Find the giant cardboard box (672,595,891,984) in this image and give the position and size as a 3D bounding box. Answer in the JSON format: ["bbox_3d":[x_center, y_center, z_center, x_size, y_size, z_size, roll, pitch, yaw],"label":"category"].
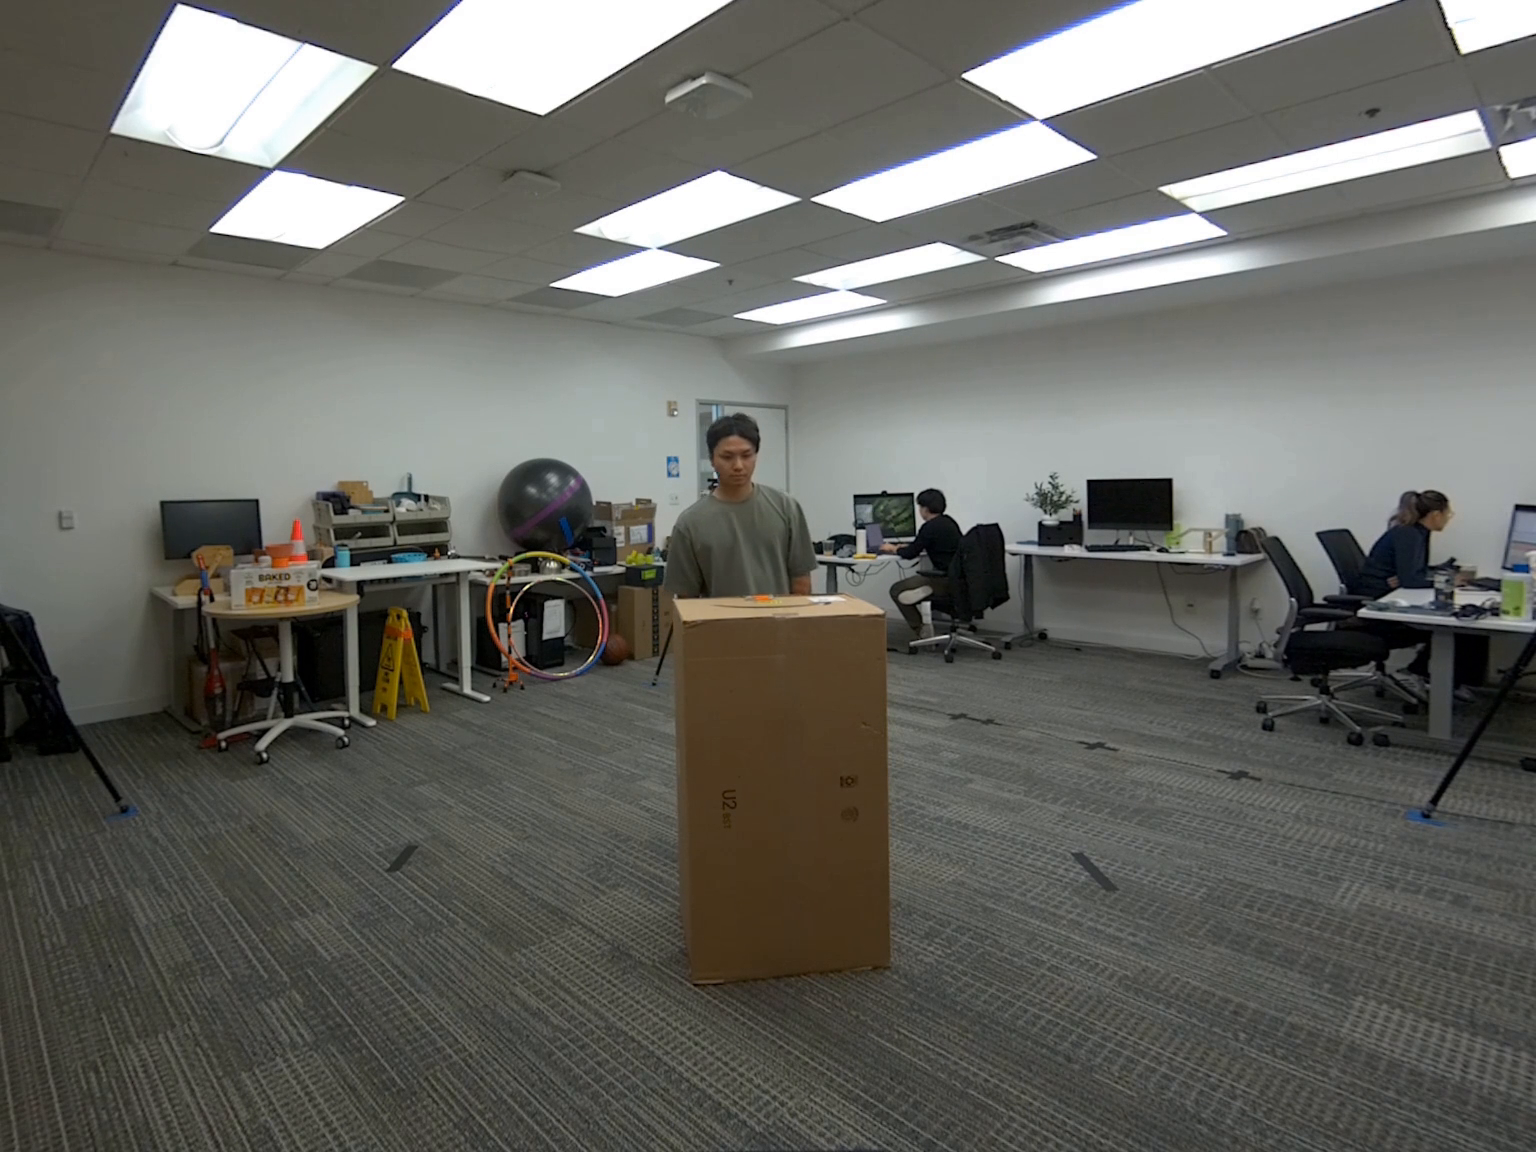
[{"bbox_3d":[0.021,0.598,2.572,0.574,1.022,0.431,-1,4,-7],"label":"giant cardboard box"}]
